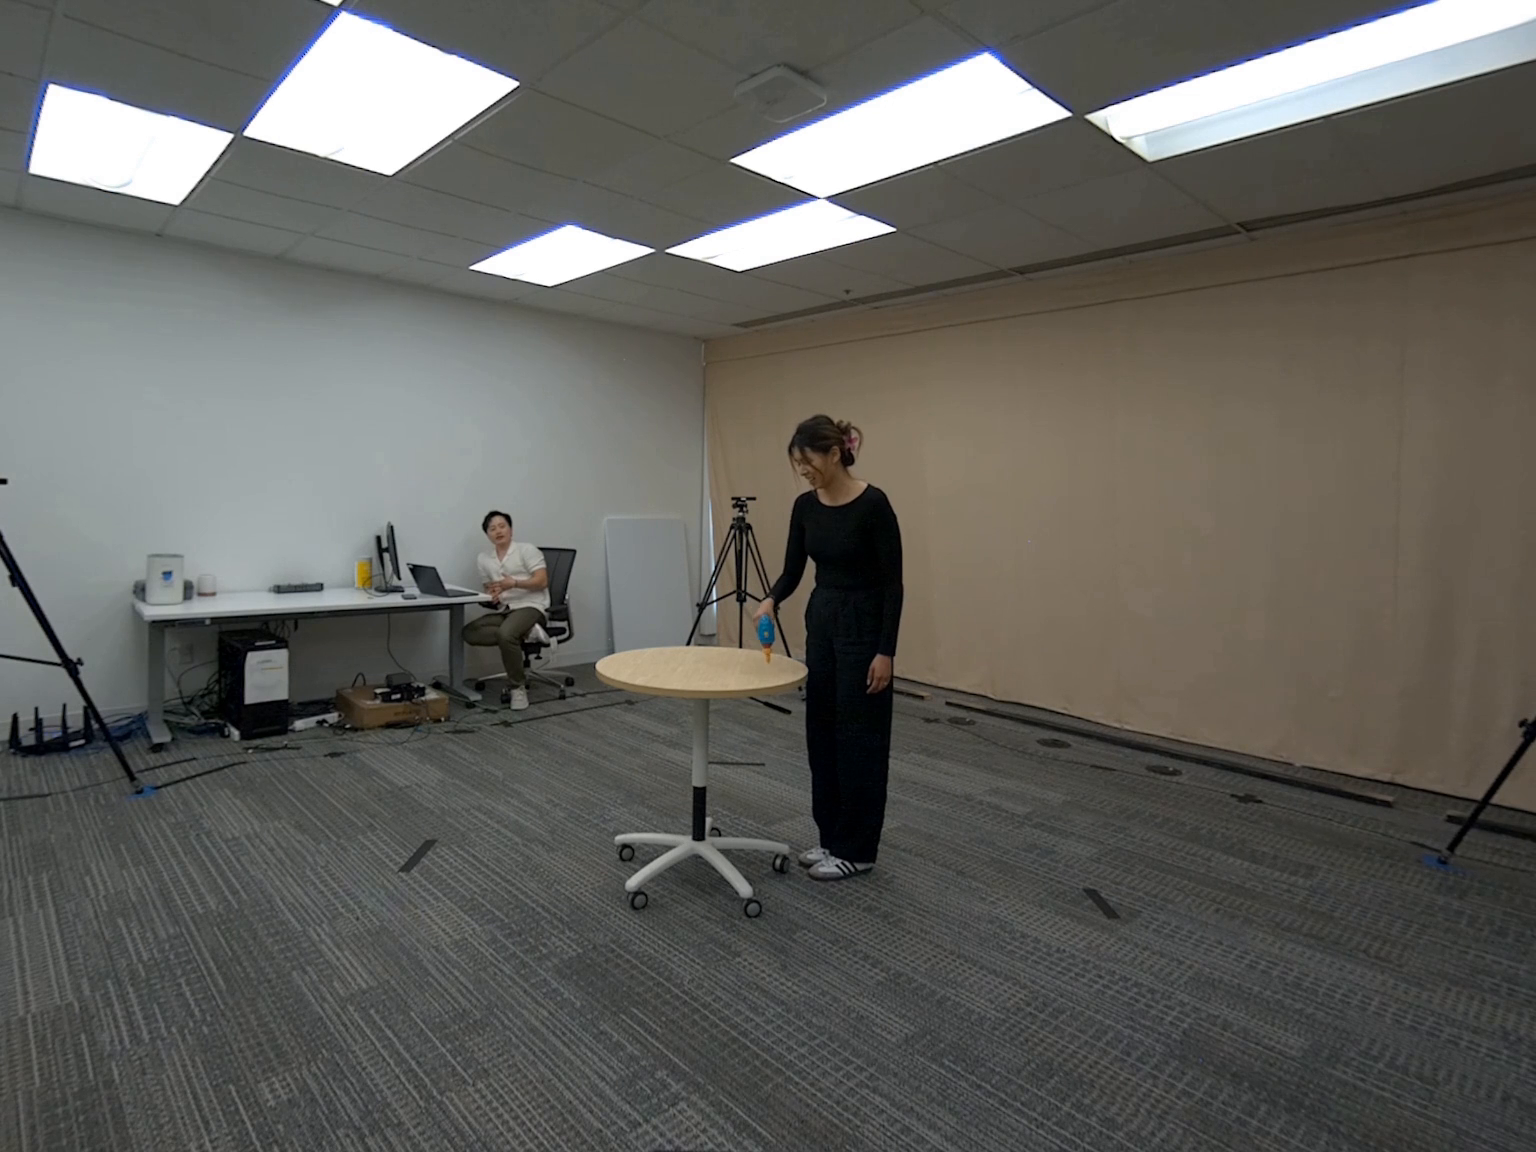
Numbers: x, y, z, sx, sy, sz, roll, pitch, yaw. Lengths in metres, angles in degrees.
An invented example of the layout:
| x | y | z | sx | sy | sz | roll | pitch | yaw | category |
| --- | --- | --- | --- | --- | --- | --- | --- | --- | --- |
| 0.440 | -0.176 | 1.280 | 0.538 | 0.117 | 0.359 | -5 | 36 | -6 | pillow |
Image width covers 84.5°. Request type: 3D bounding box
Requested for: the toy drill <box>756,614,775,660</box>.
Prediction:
| x | y | z | sx | sy | sz | roll | pitch | yaw | category |
| --- | --- | --- | --- | --- | --- | --- | --- | --- | --- |
| -0.013 | 0.228 | 2.971 | 0.061 | 0.170 | 0.145 | -8 | -3 | 3 | toy drill |
